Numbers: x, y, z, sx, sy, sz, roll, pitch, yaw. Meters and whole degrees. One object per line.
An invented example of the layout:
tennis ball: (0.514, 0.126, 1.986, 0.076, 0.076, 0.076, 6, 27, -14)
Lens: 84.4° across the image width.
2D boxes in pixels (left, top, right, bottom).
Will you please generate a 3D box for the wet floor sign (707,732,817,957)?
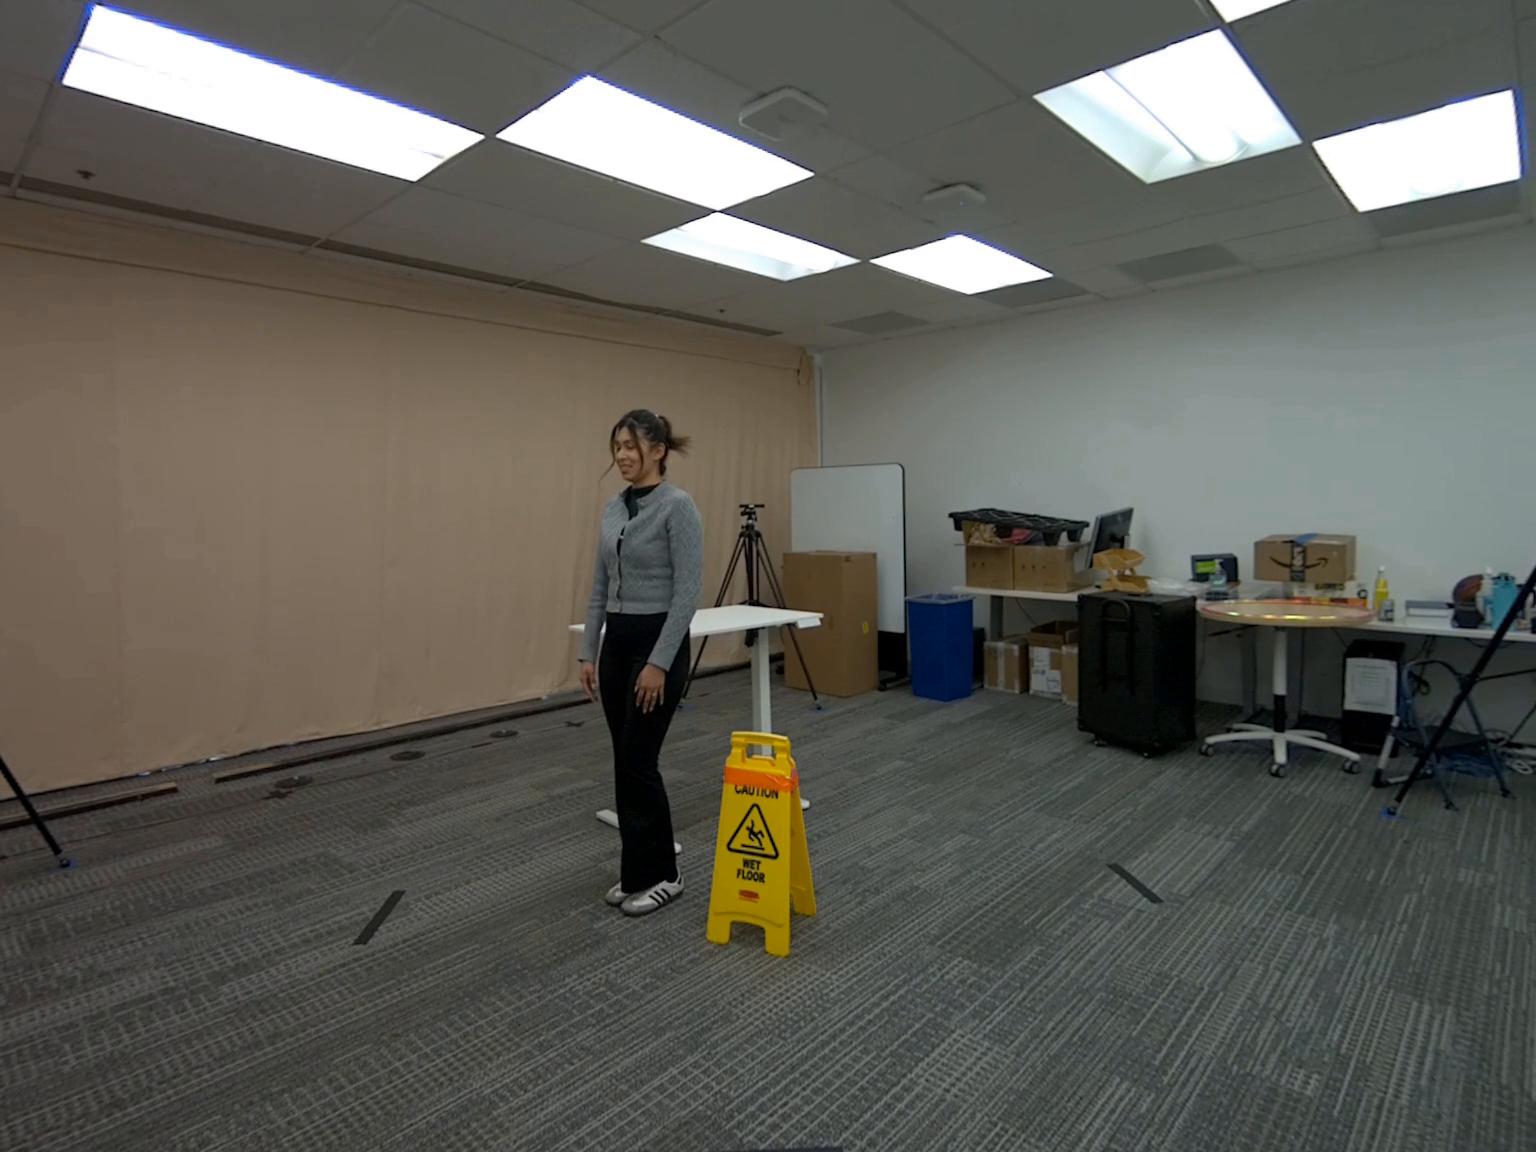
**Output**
wet floor sign: (-0.019, 0.835, 2.754, 0.289, 0.644, 0.283, -1, 4, 23)
